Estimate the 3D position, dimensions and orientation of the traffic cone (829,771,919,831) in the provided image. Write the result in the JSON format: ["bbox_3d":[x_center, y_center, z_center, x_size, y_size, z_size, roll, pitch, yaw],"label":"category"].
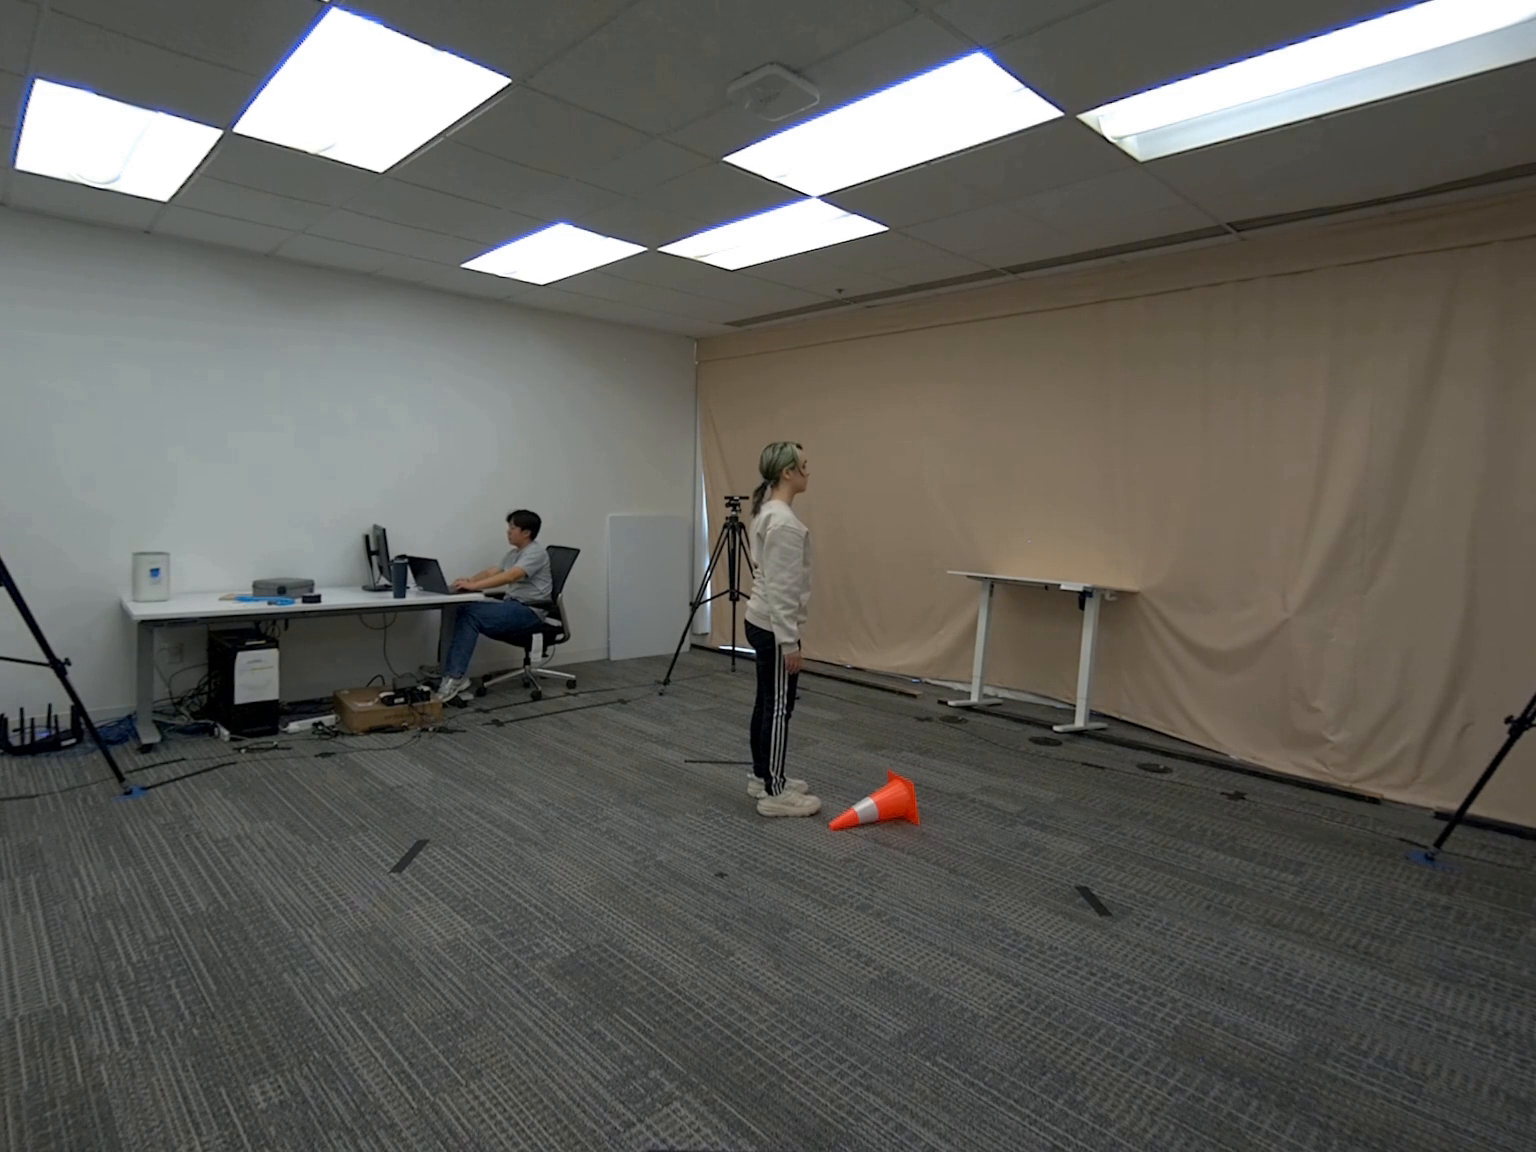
[{"bbox_3d":[0.424,1.016,3.636,0.378,0.203,0.207,-15,10,-25],"label":"traffic cone"}]
